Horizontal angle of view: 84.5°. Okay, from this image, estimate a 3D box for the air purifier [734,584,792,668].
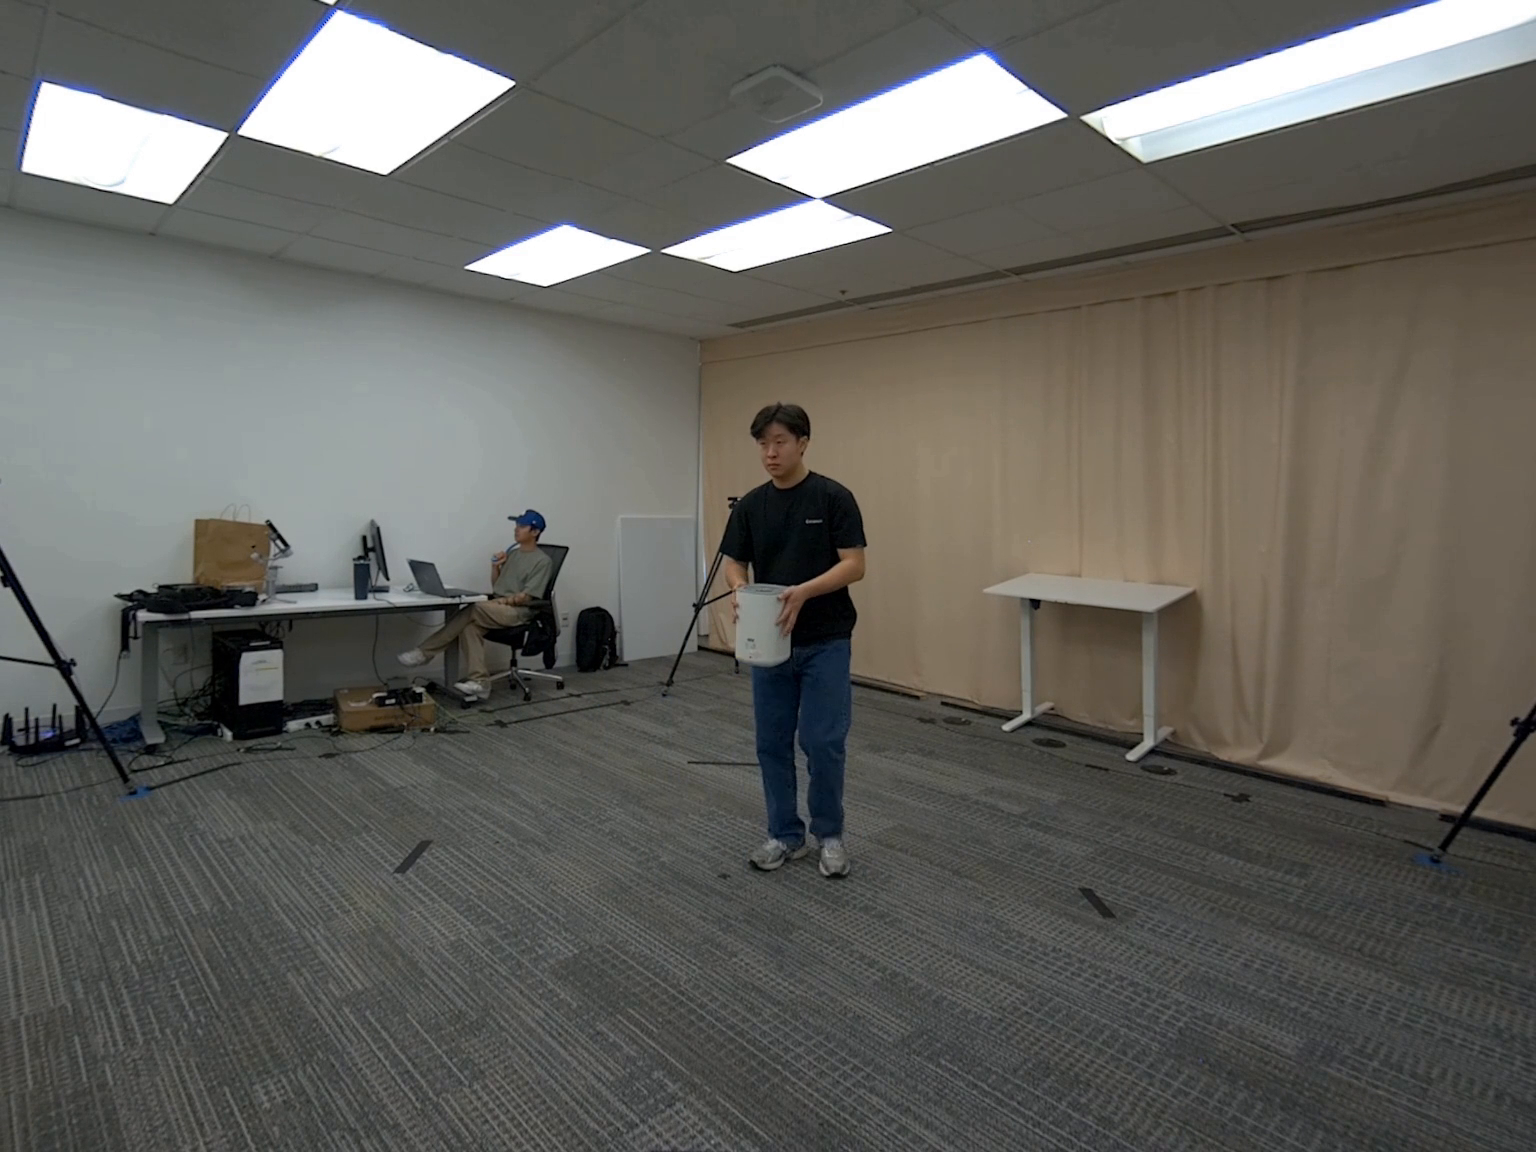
[{"bbox_3d":[-0.029,0.168,2.986,0.175,0.264,0.169,5,9,28],"label":"air purifier"}]
